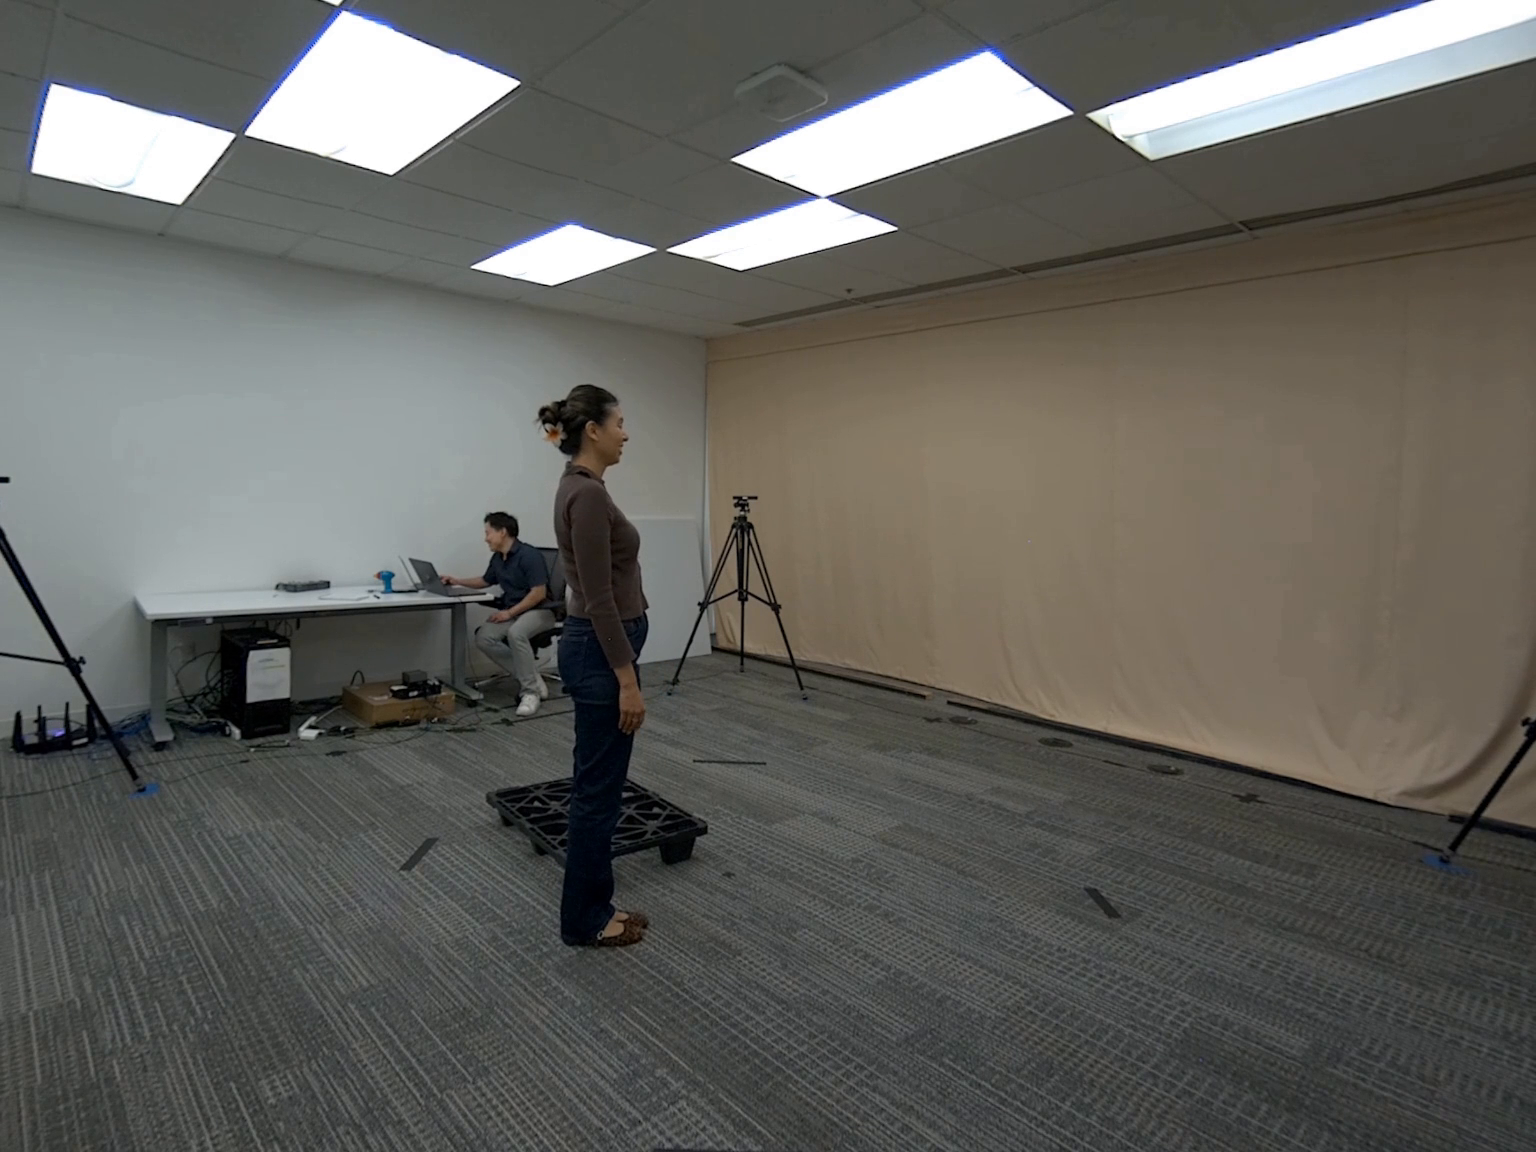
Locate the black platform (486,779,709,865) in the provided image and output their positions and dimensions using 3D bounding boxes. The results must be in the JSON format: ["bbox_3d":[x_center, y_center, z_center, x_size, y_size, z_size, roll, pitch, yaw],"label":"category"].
[{"bbox_3d":[-0.711,0.999,3.387,0.591,0.143,0.826,-2,6,-37],"label":"black platform"}]
